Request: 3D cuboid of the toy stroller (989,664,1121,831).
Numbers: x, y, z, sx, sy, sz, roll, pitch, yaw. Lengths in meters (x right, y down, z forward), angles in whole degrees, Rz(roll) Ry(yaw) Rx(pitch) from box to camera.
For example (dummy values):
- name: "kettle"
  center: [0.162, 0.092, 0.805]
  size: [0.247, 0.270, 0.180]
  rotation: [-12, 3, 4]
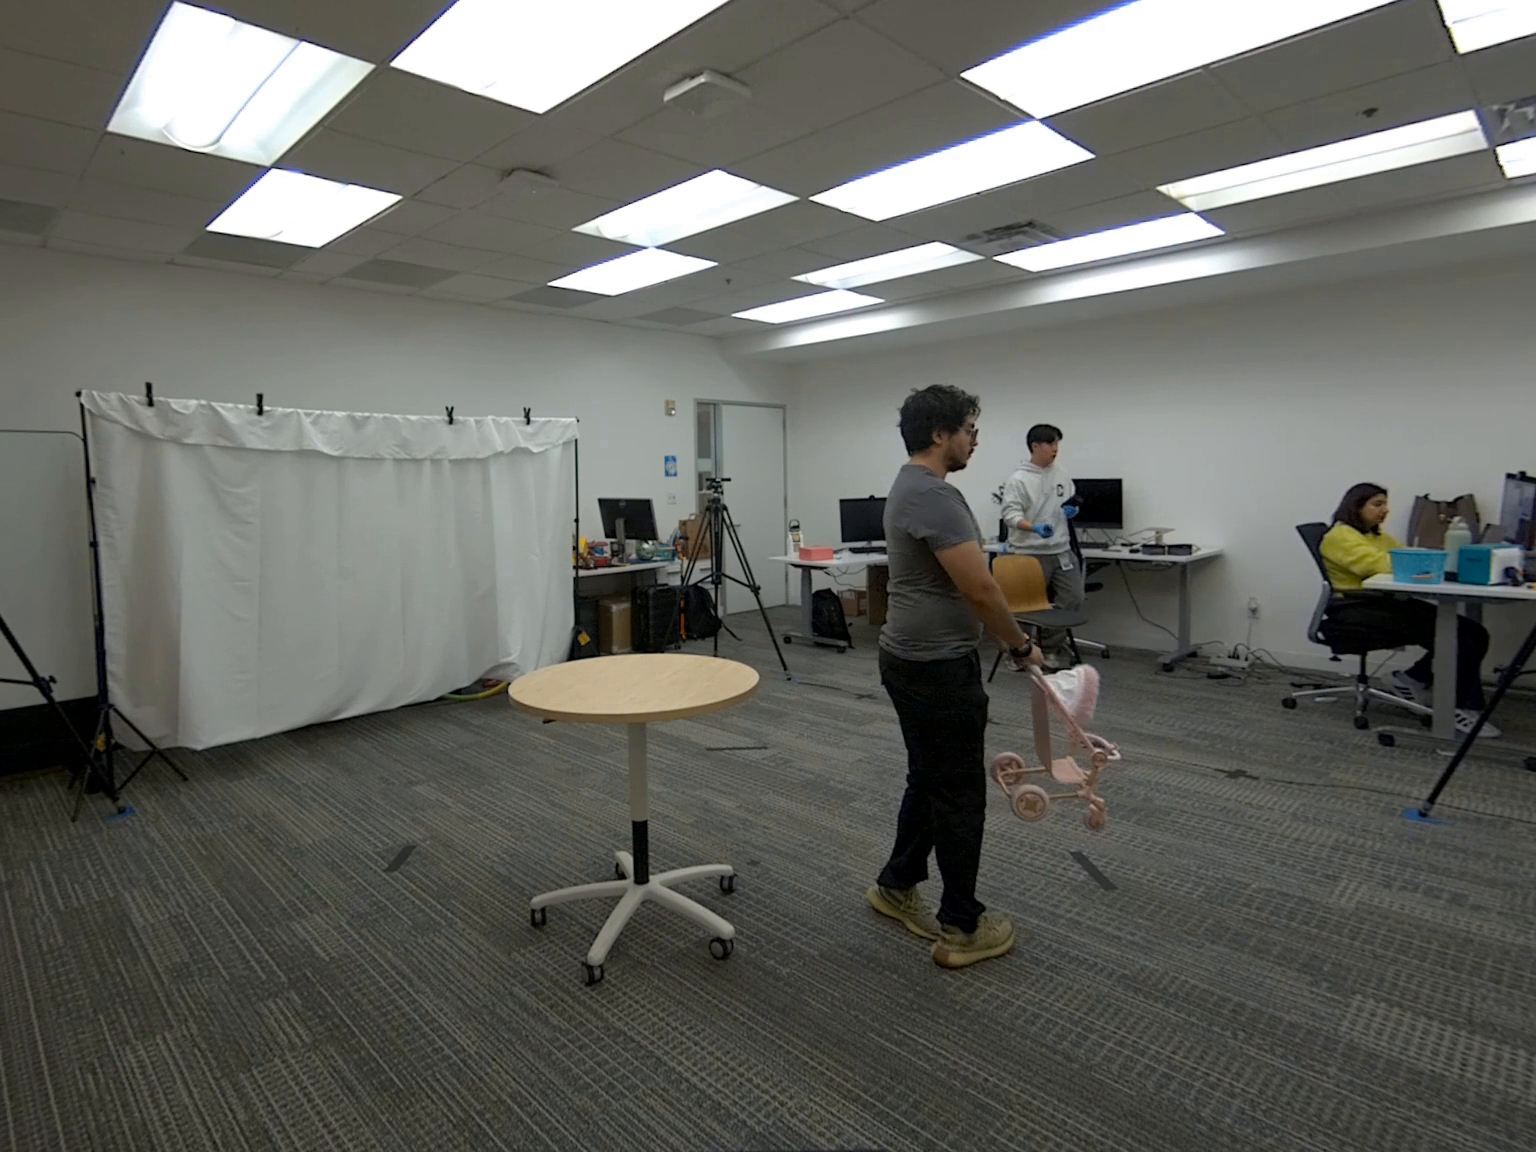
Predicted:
- name: "toy stroller"
  center: [0.874, 0.494, 2.561]
  size: [0.344, 0.532, 0.281]
  rotation: [6, 6, 6]
